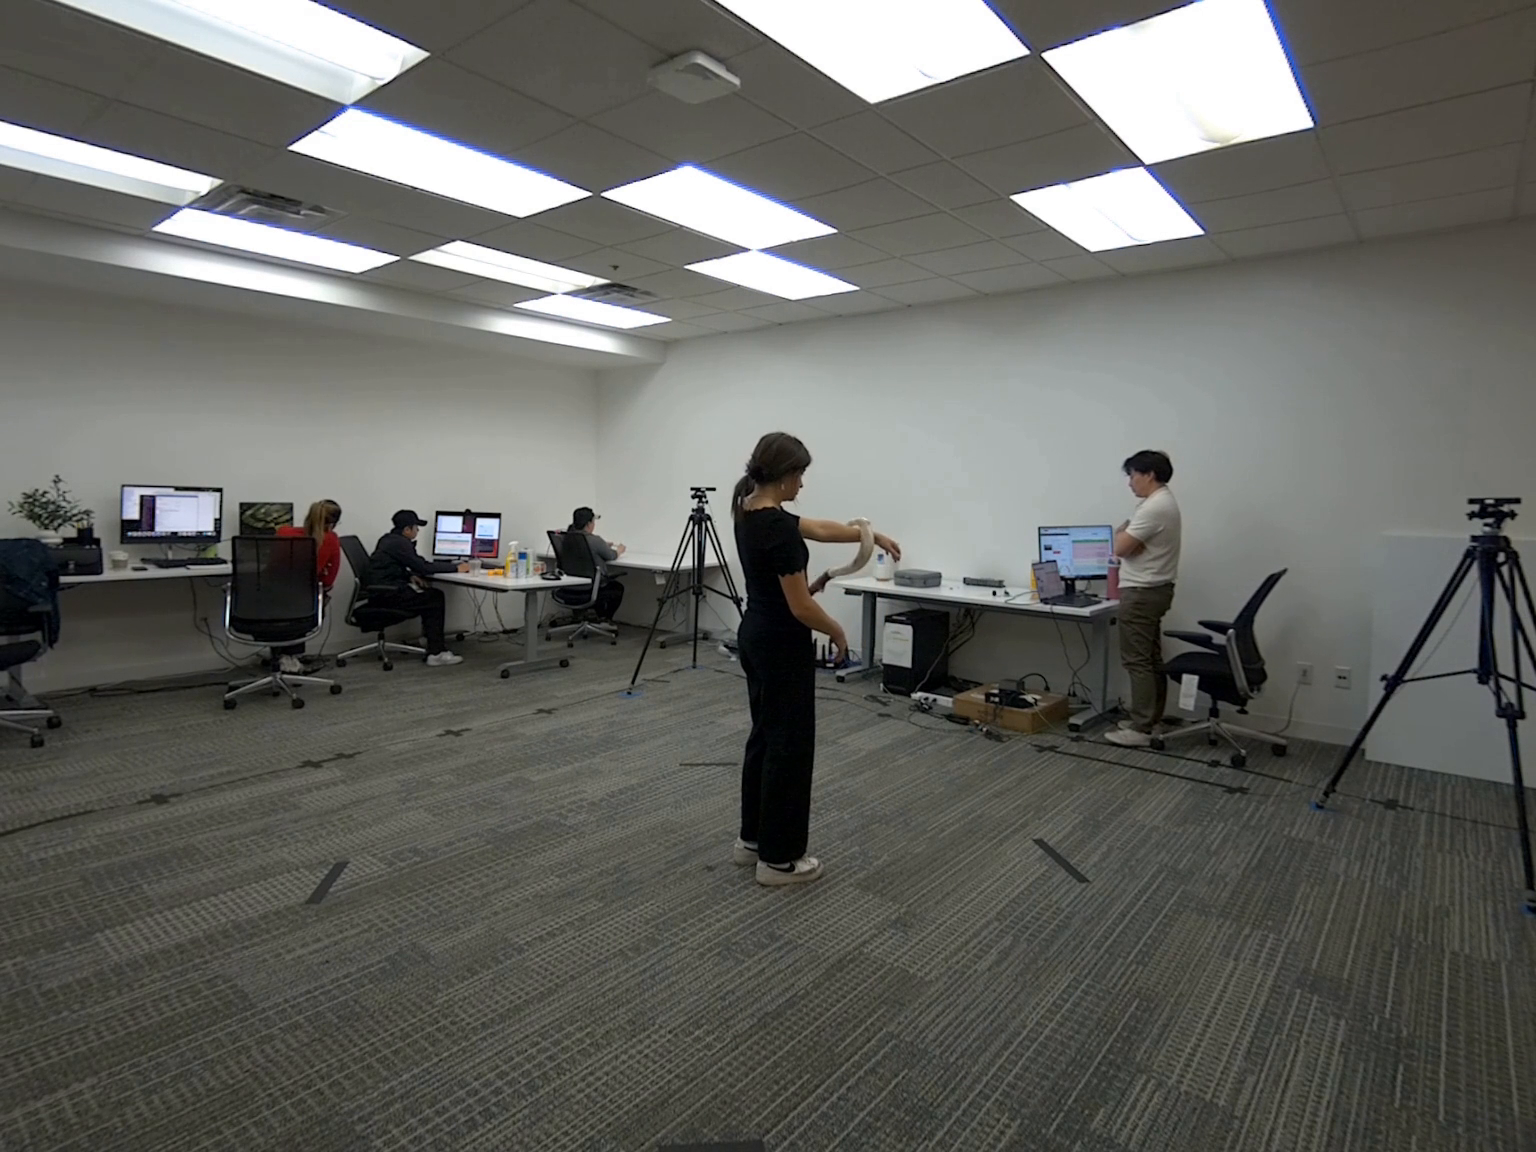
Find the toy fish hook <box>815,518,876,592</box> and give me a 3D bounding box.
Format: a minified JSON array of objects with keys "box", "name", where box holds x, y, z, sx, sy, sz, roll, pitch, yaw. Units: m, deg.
[{"box":[0.286,-0.060,3.450,0.047,0.230,0.508,15,-30,-23],"name":"toy fish hook"}]
